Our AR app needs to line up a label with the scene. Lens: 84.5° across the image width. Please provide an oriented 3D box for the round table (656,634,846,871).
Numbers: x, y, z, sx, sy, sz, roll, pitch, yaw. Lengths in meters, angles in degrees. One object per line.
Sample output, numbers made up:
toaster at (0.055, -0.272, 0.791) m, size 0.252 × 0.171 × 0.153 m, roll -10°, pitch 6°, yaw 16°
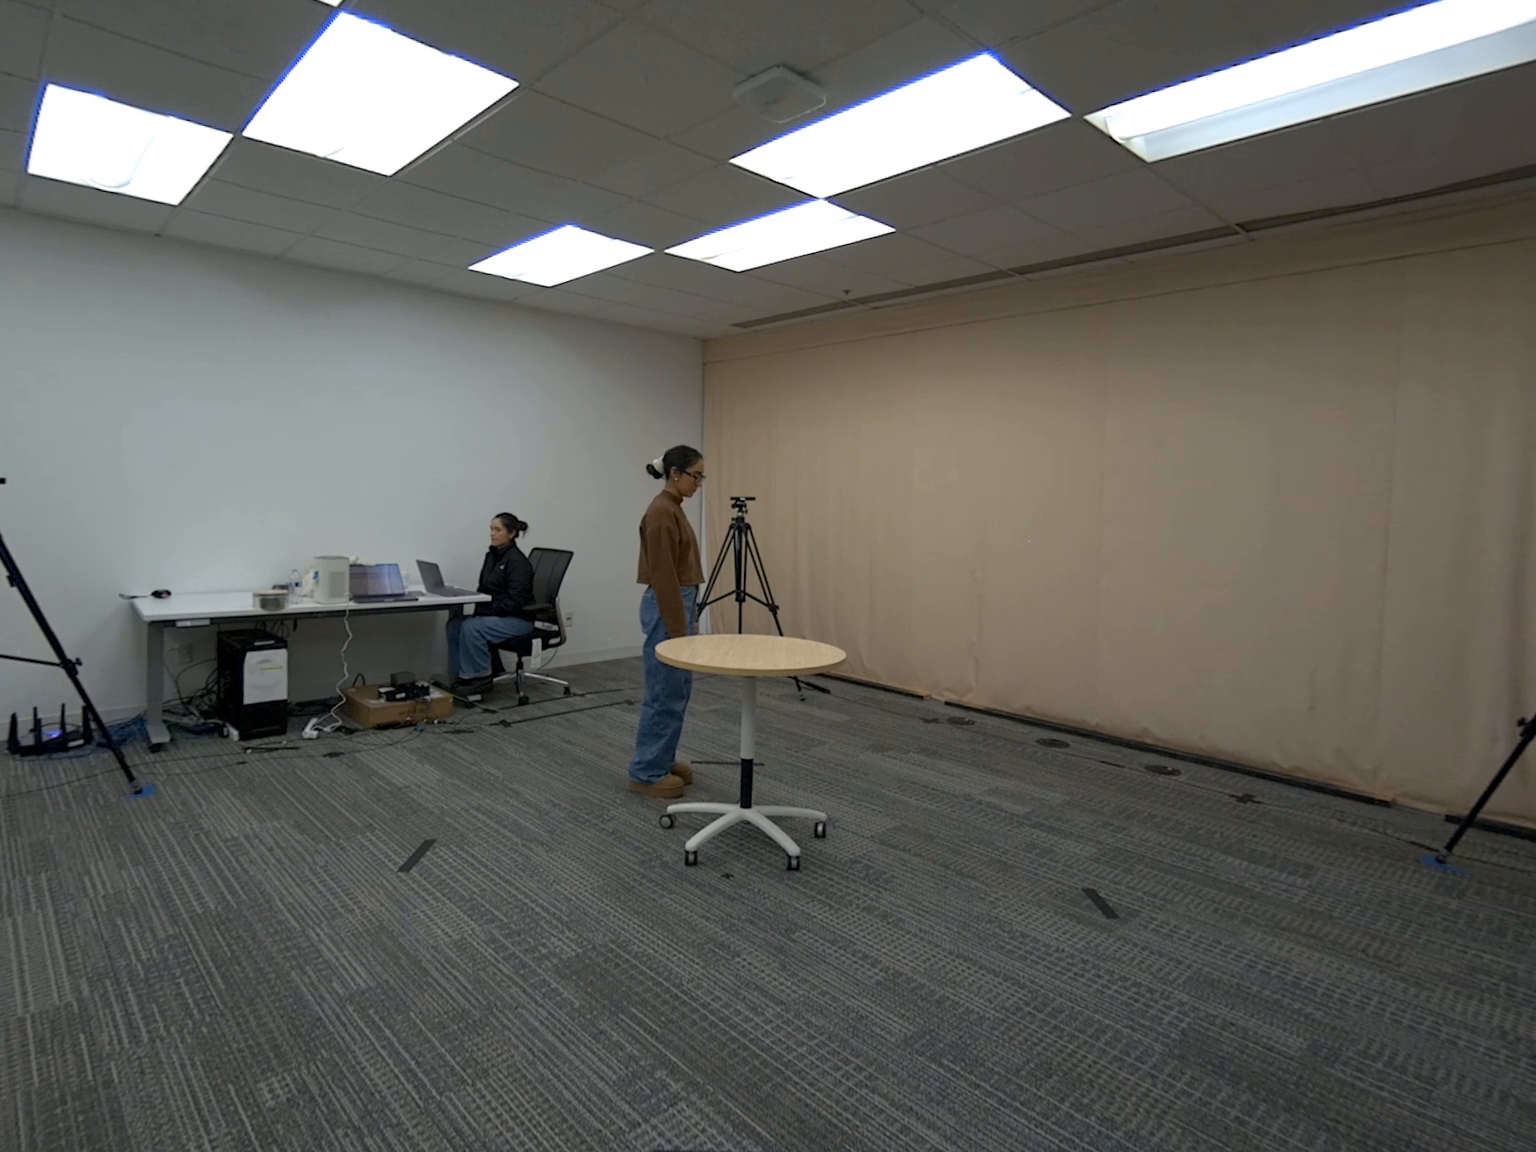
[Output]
round table at (-0.087, 0.692, 3.404) m, size 0.763 × 0.792 × 0.766 m, roll 1°, pitch 4°, yaw -1°
